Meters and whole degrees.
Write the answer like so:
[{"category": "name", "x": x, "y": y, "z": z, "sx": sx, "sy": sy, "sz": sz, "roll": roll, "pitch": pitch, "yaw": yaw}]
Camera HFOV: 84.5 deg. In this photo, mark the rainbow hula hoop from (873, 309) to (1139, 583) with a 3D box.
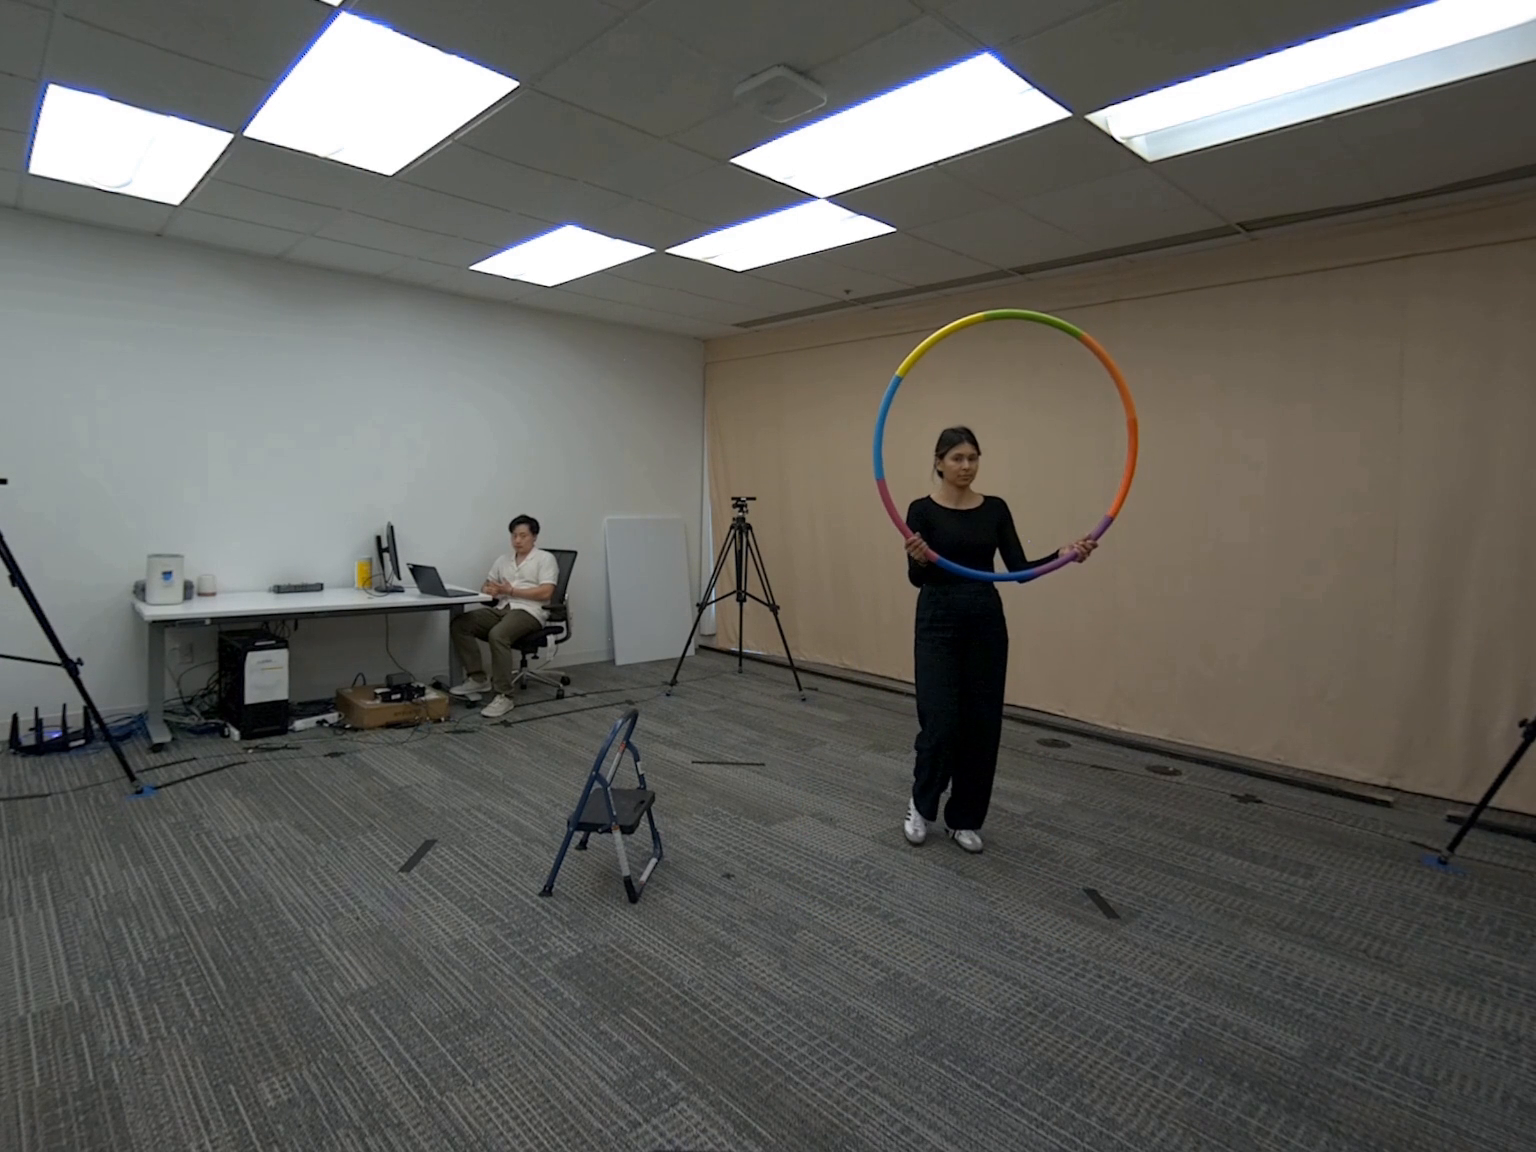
[{"category": "rainbow hula hoop", "x": 0.868, "y": -0.465, "z": 3.064, "sx": 0.974, "sy": 0.973, "sz": 0.036, "roll": 1, "pitch": 7, "yaw": -5}]
